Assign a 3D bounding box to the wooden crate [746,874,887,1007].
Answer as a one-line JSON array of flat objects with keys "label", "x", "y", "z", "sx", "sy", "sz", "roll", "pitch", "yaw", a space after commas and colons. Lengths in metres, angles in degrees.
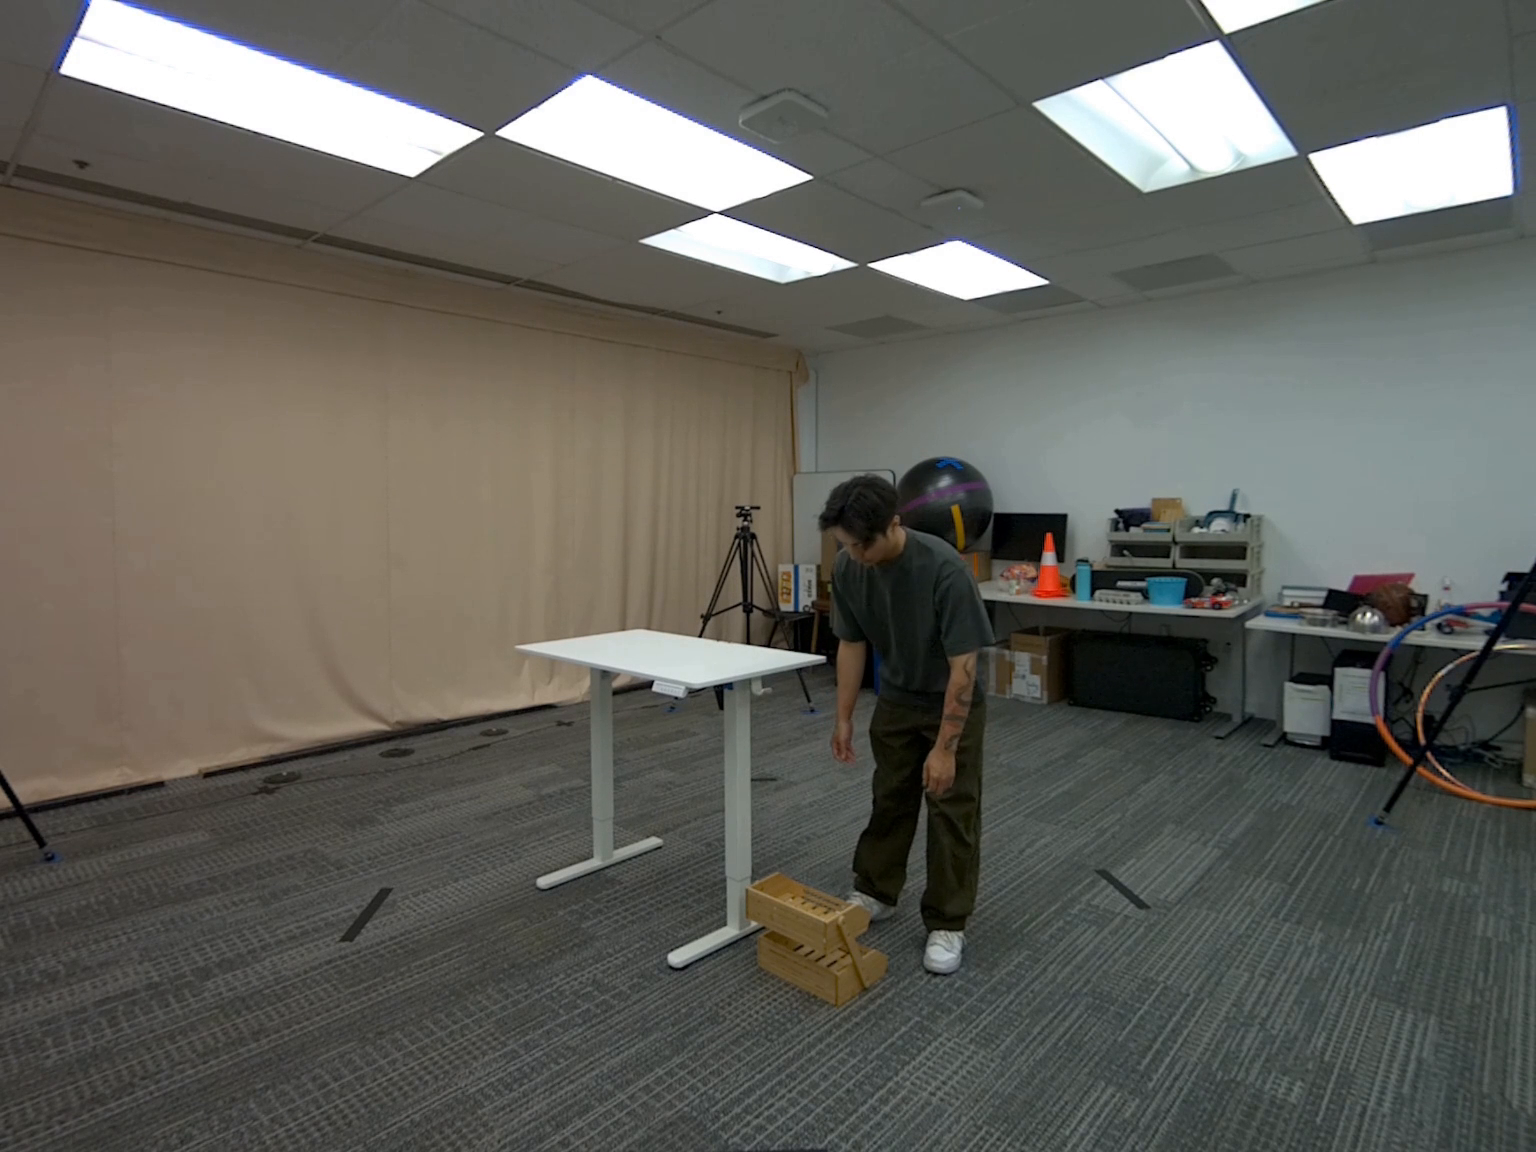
[{"label": "wooden crate", "x": 0.152, "y": 1.050, "z": 2.505, "sx": 0.335, "sy": 0.273, "sz": 0.293, "roll": 4, "pitch": 5, "yaw": 43}]
